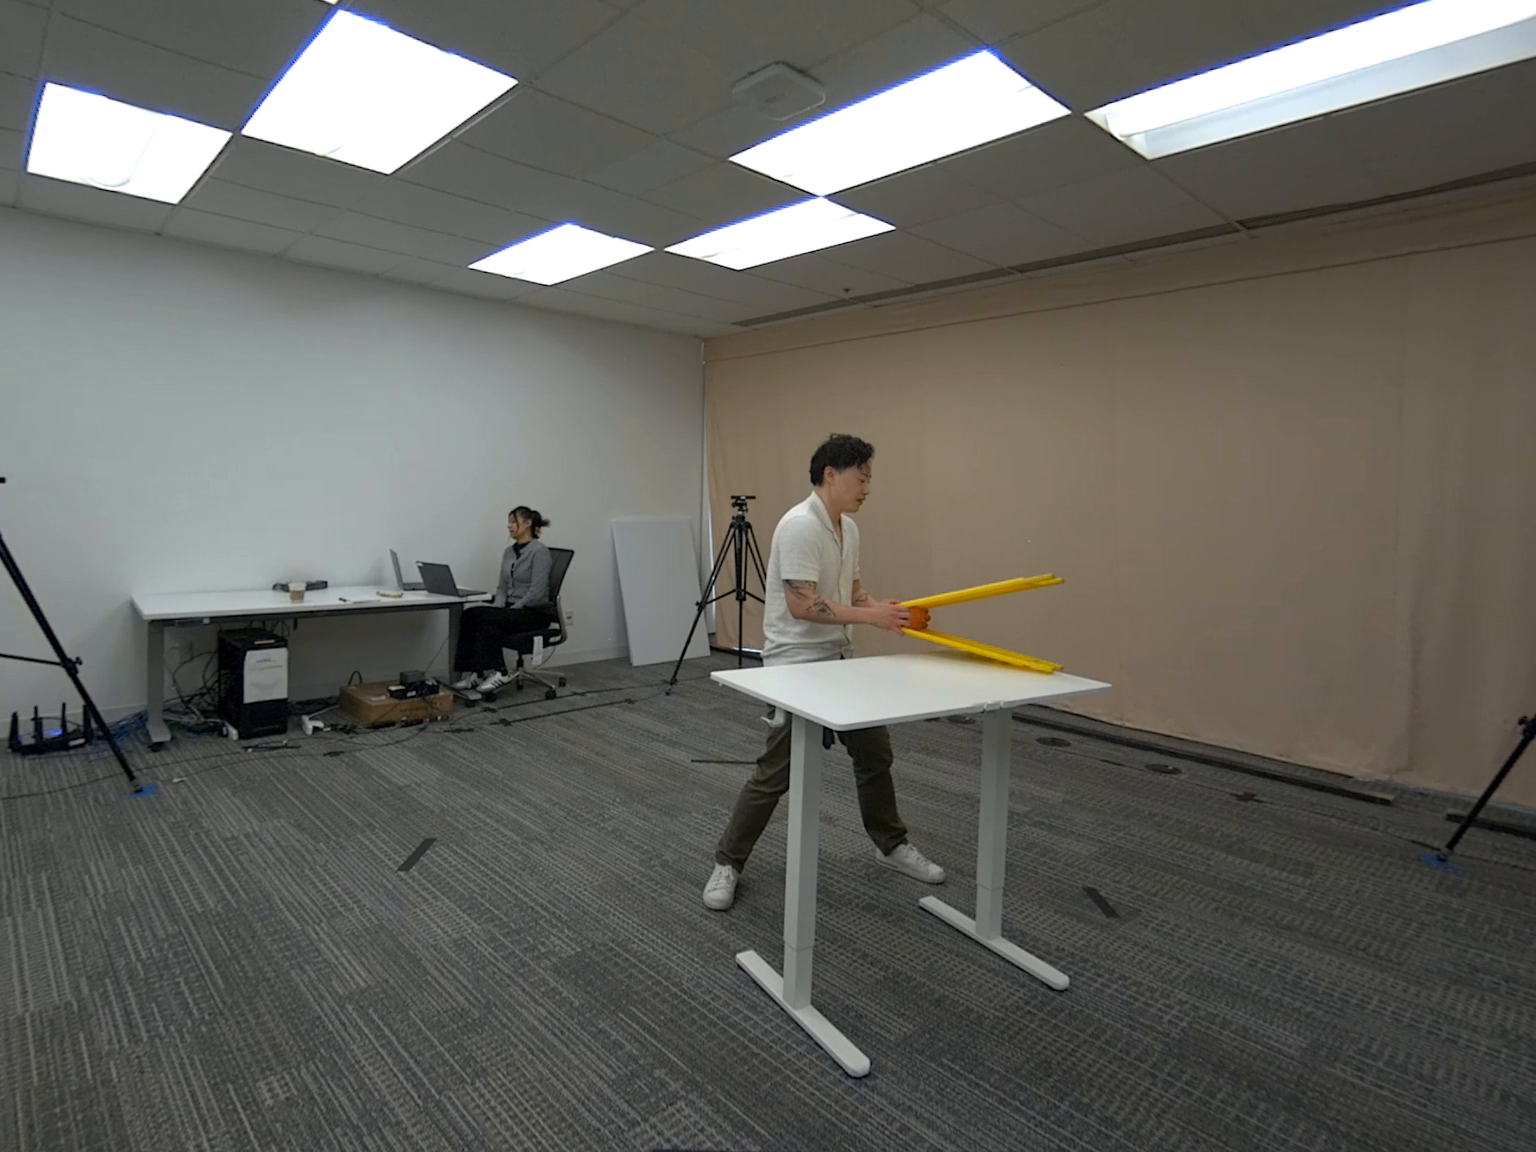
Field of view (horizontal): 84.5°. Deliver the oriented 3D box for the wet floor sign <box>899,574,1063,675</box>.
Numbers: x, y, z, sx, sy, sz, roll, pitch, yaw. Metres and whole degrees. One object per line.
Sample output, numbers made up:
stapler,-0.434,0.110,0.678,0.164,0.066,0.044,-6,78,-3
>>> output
wet floor sign,0.626,0.144,2.809,0.659,0.290,0.276,1,-3,28
